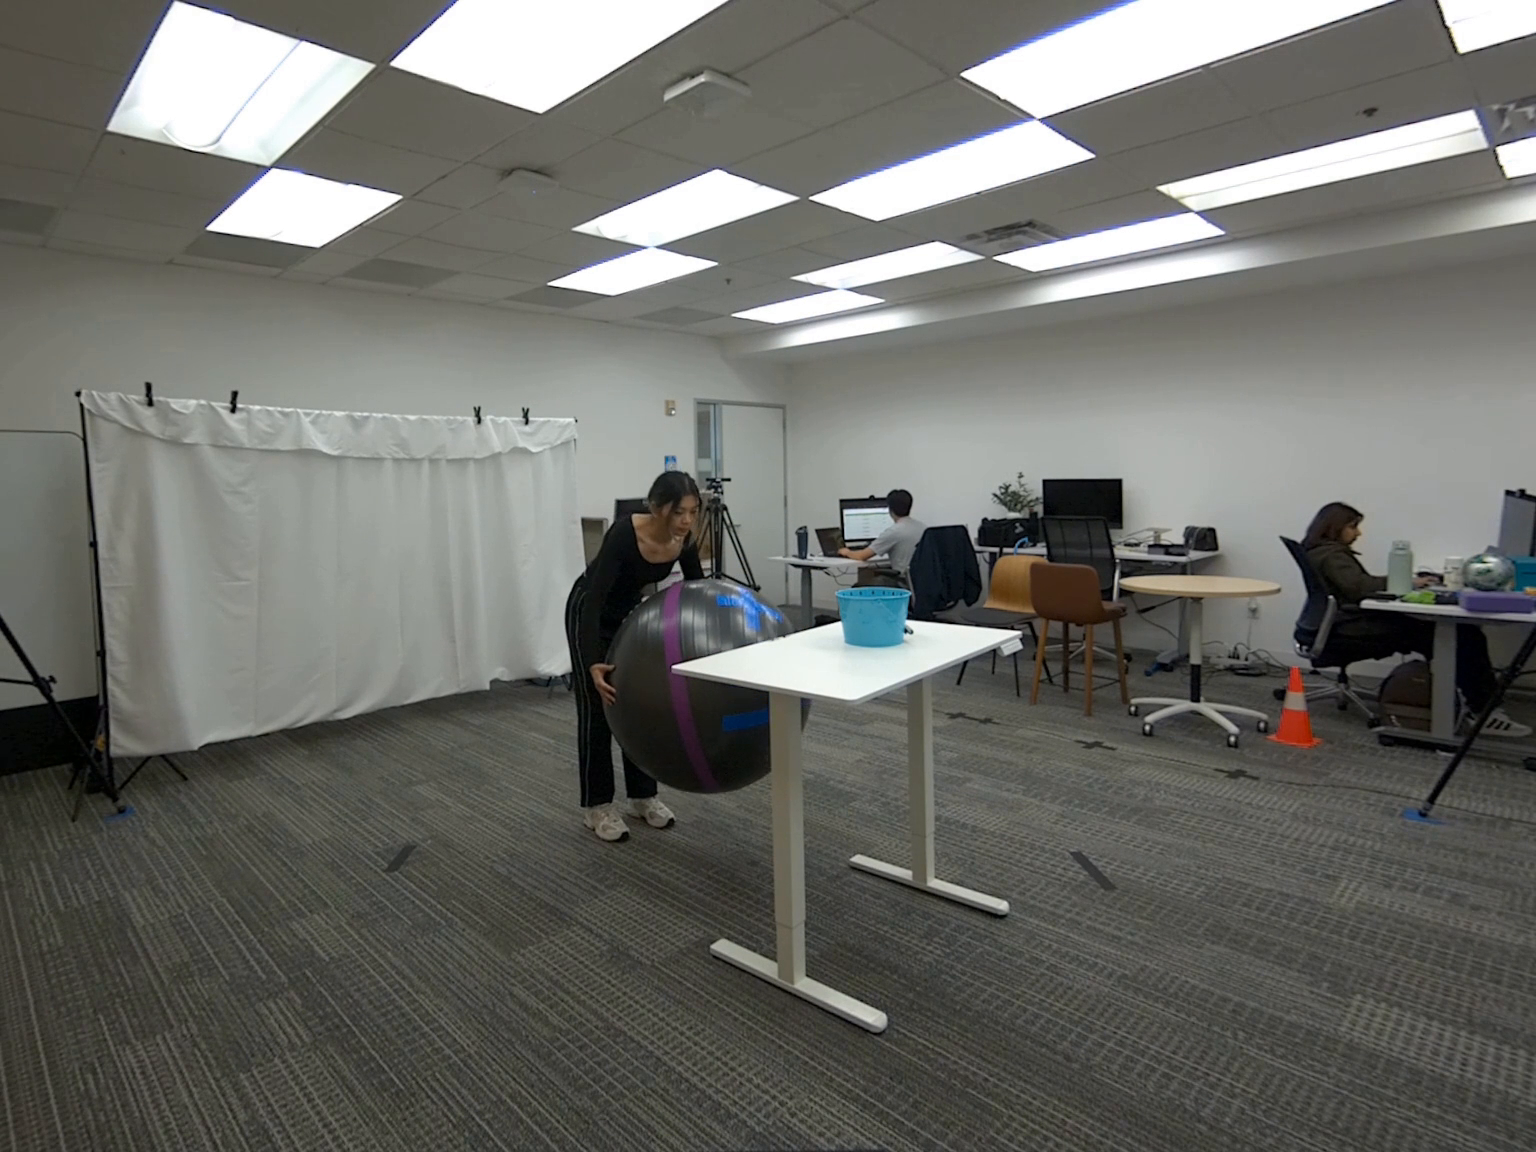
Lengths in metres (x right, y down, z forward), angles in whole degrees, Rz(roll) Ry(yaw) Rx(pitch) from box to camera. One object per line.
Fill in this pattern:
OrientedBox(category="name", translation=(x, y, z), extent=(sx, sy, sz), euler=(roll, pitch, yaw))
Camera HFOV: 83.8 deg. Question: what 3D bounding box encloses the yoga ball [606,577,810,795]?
OrientedBox(category="yoga ball", translation=(-0.222, 0.400, 3.090), extent=(0.757, 0.755, 0.762), euler=(-1, 5, -2))
